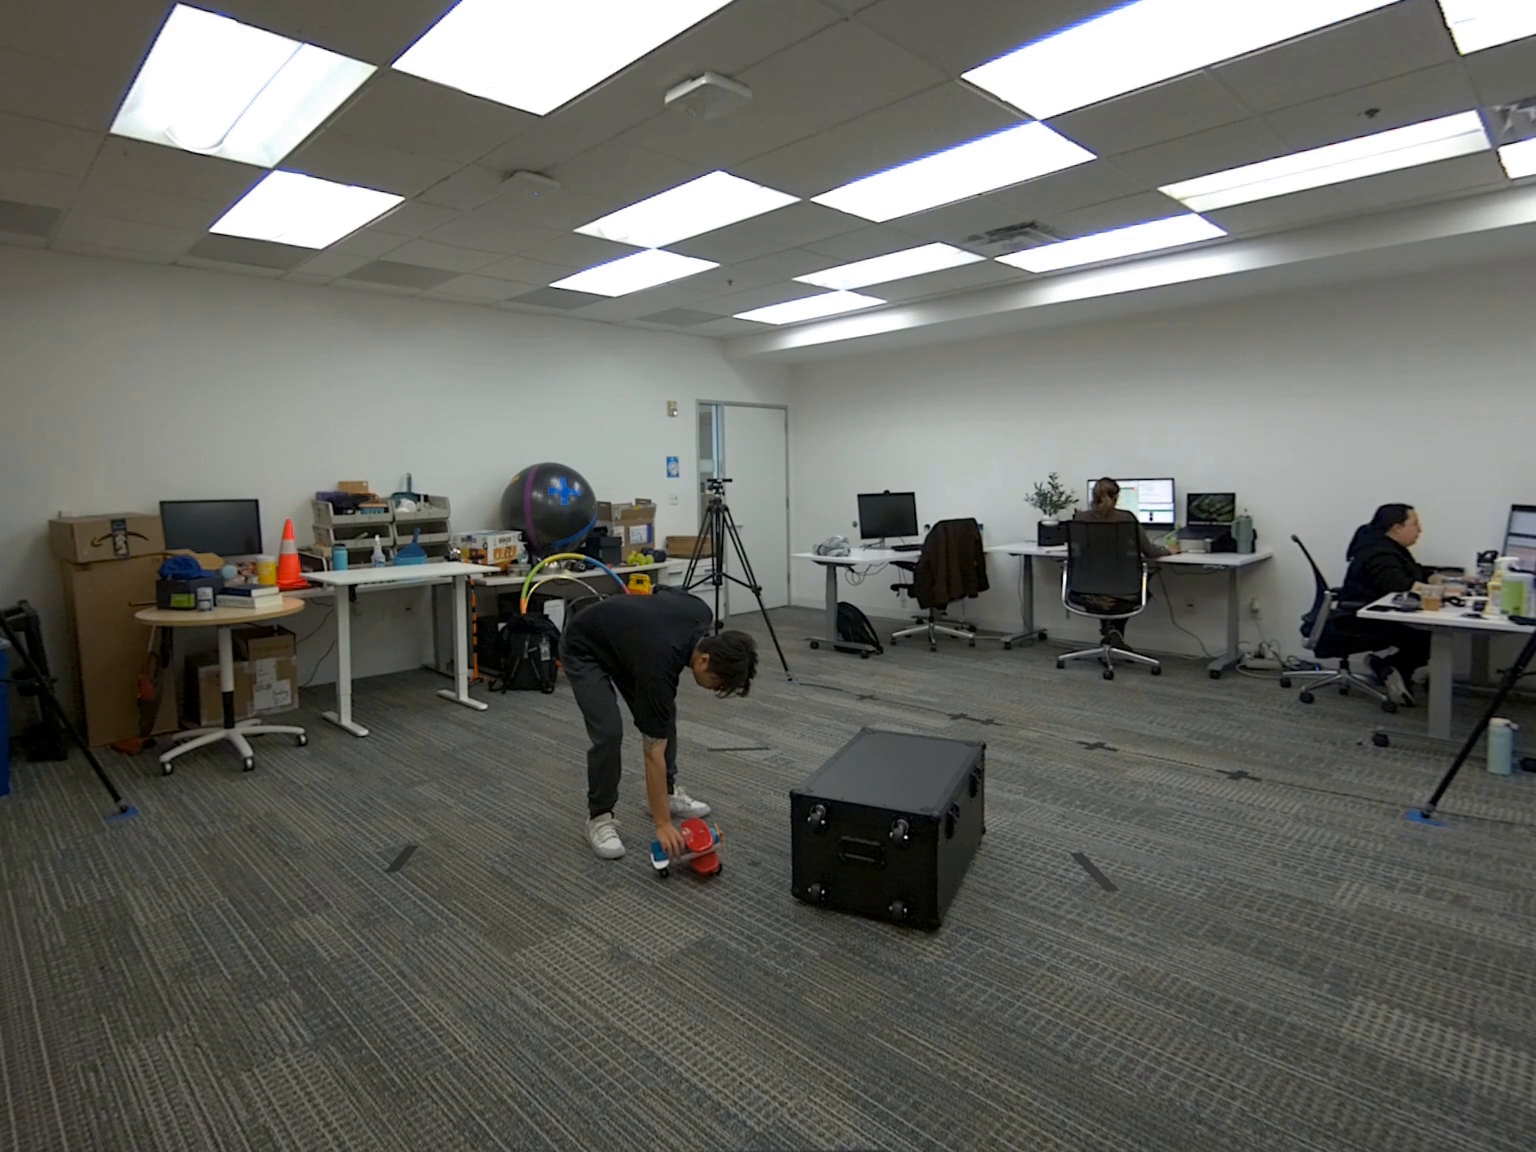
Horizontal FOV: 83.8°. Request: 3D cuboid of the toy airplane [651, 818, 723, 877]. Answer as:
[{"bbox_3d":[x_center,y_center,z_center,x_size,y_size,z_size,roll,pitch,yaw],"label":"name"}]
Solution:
[{"bbox_3d":[-0.268,0.980,3.017,0.252,0.156,0.259,-4,7,-44],"label":"toy airplane"}]
